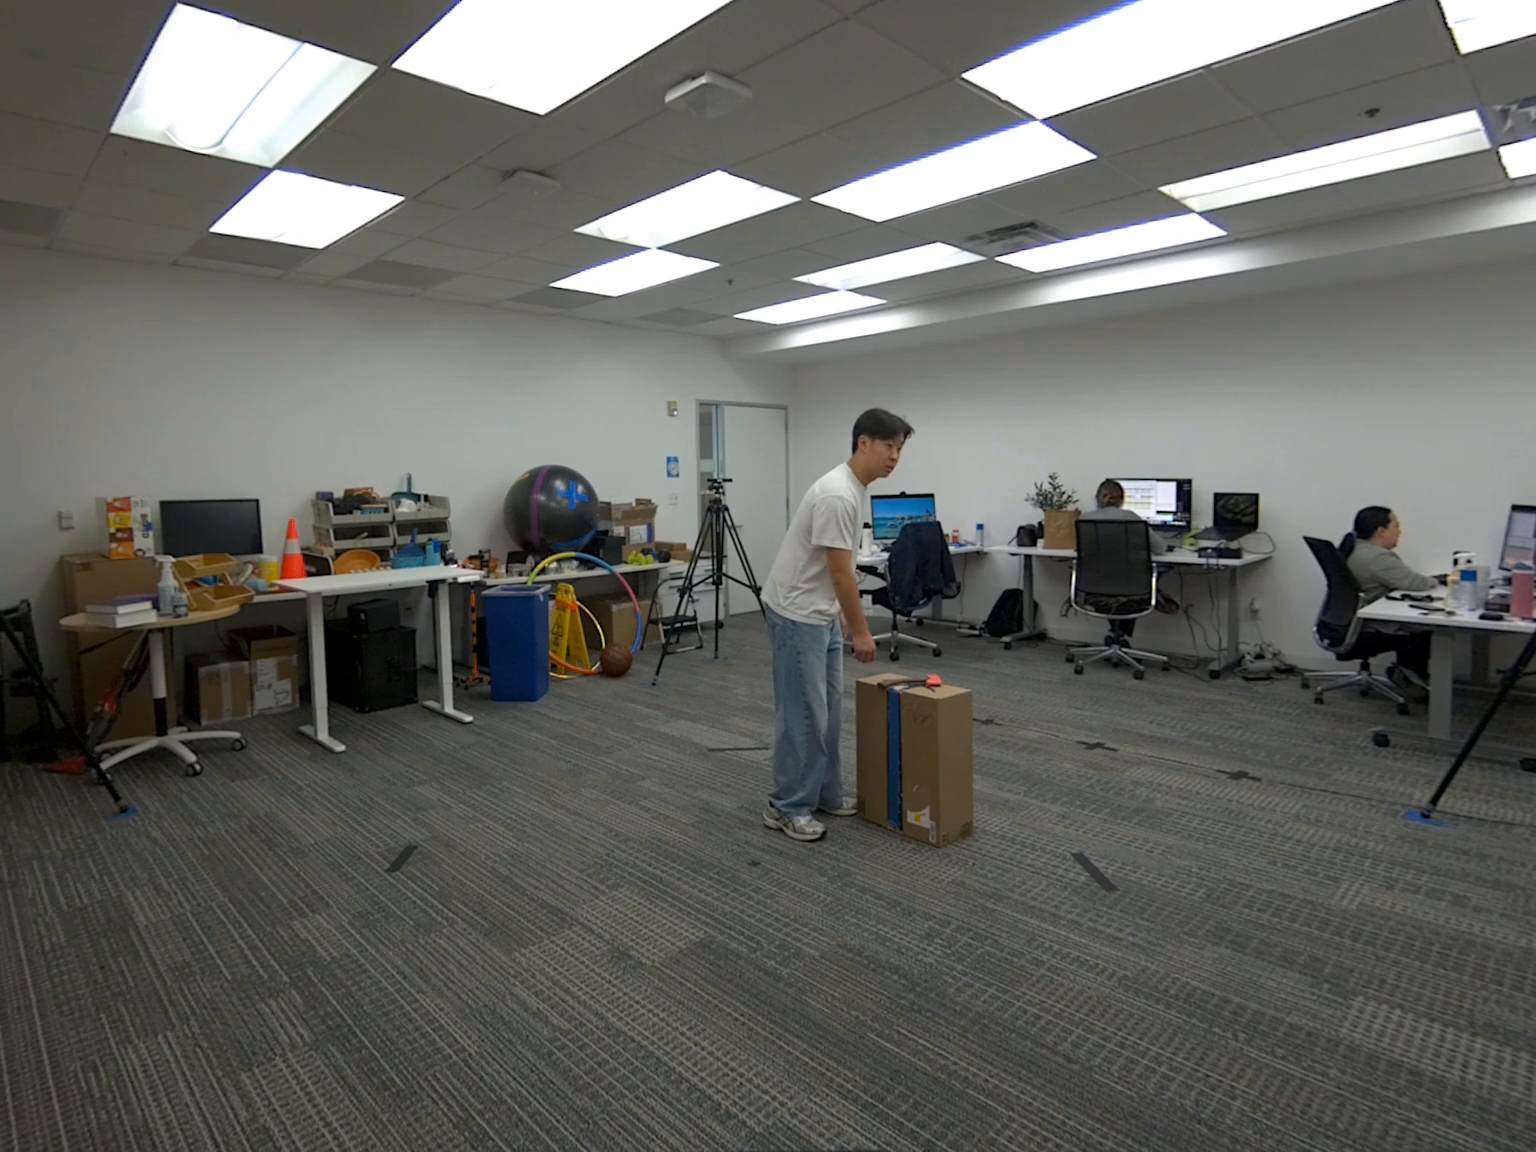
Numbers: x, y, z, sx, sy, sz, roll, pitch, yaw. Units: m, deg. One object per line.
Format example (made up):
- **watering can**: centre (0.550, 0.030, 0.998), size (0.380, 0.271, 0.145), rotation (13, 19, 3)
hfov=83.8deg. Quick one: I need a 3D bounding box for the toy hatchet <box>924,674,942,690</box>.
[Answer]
- **toy hatchet**: centre (0.574, 0.423, 3.382), size (0.264, 0.029, 0.135), rotation (-6, 11, -29)
